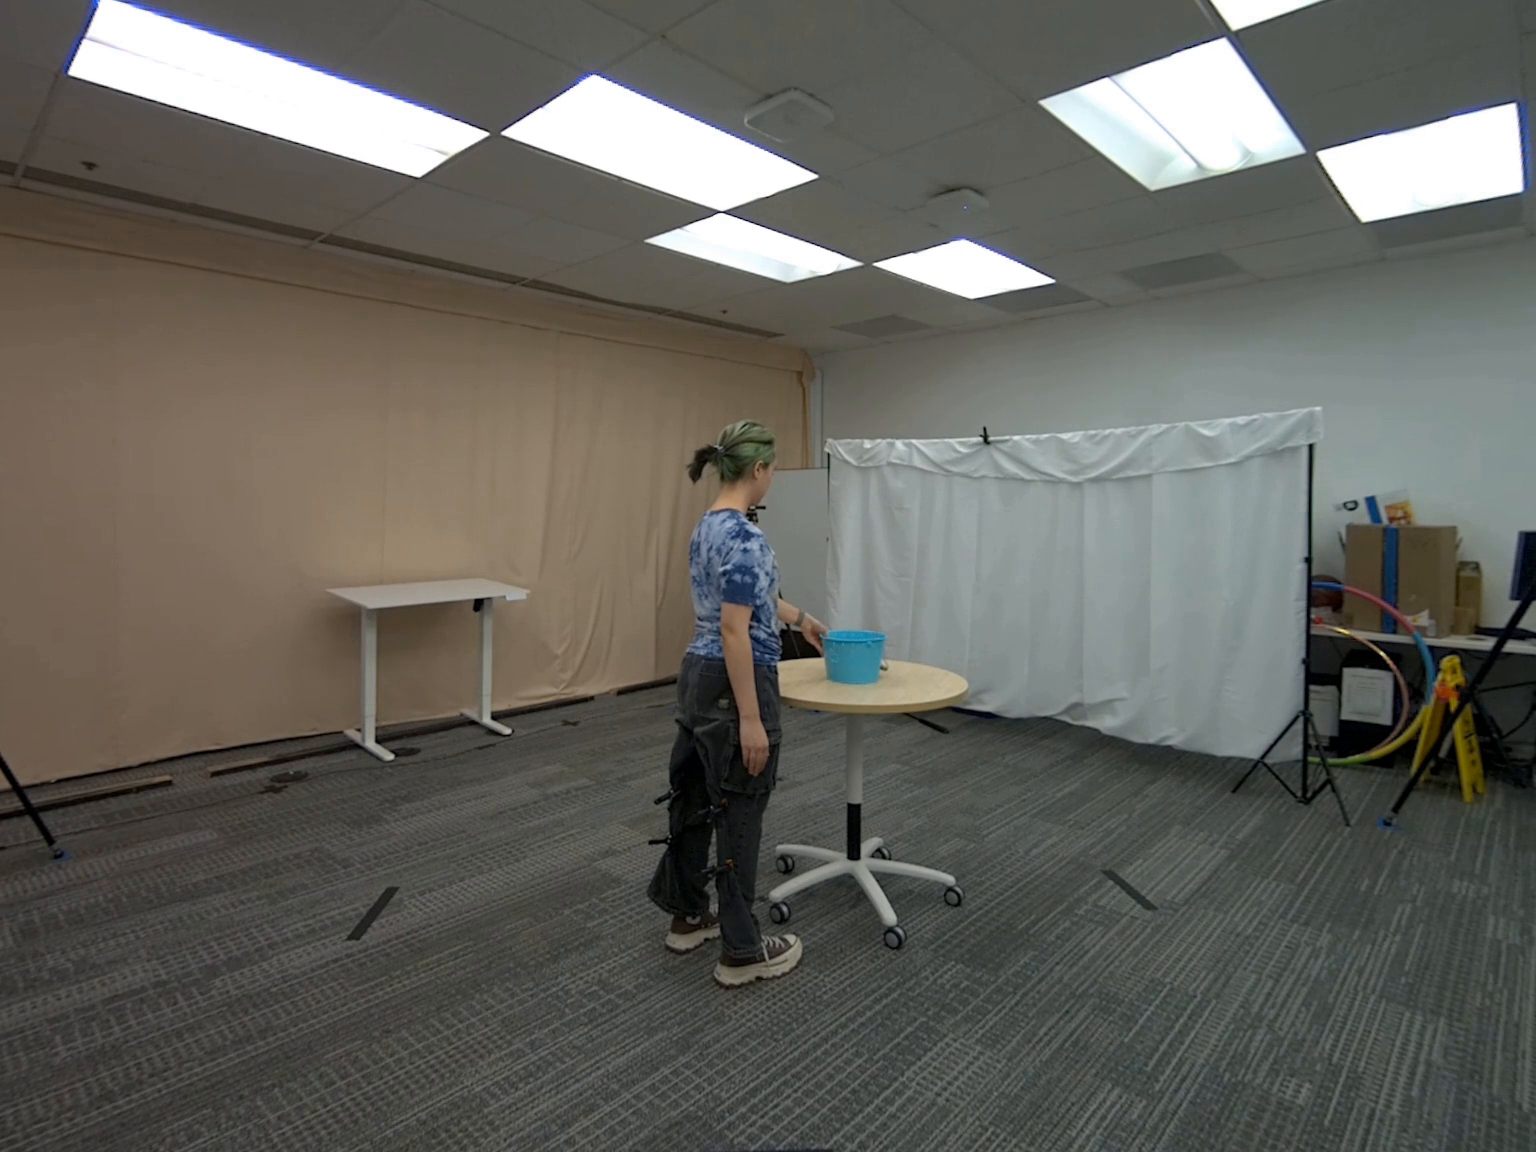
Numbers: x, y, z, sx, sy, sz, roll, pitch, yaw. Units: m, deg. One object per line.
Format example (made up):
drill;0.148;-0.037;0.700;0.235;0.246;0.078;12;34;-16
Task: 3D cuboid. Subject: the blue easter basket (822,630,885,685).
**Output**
blue easter basket;0.312;0.287;2.942;0.243;0.155;0.244;0;5;-2
